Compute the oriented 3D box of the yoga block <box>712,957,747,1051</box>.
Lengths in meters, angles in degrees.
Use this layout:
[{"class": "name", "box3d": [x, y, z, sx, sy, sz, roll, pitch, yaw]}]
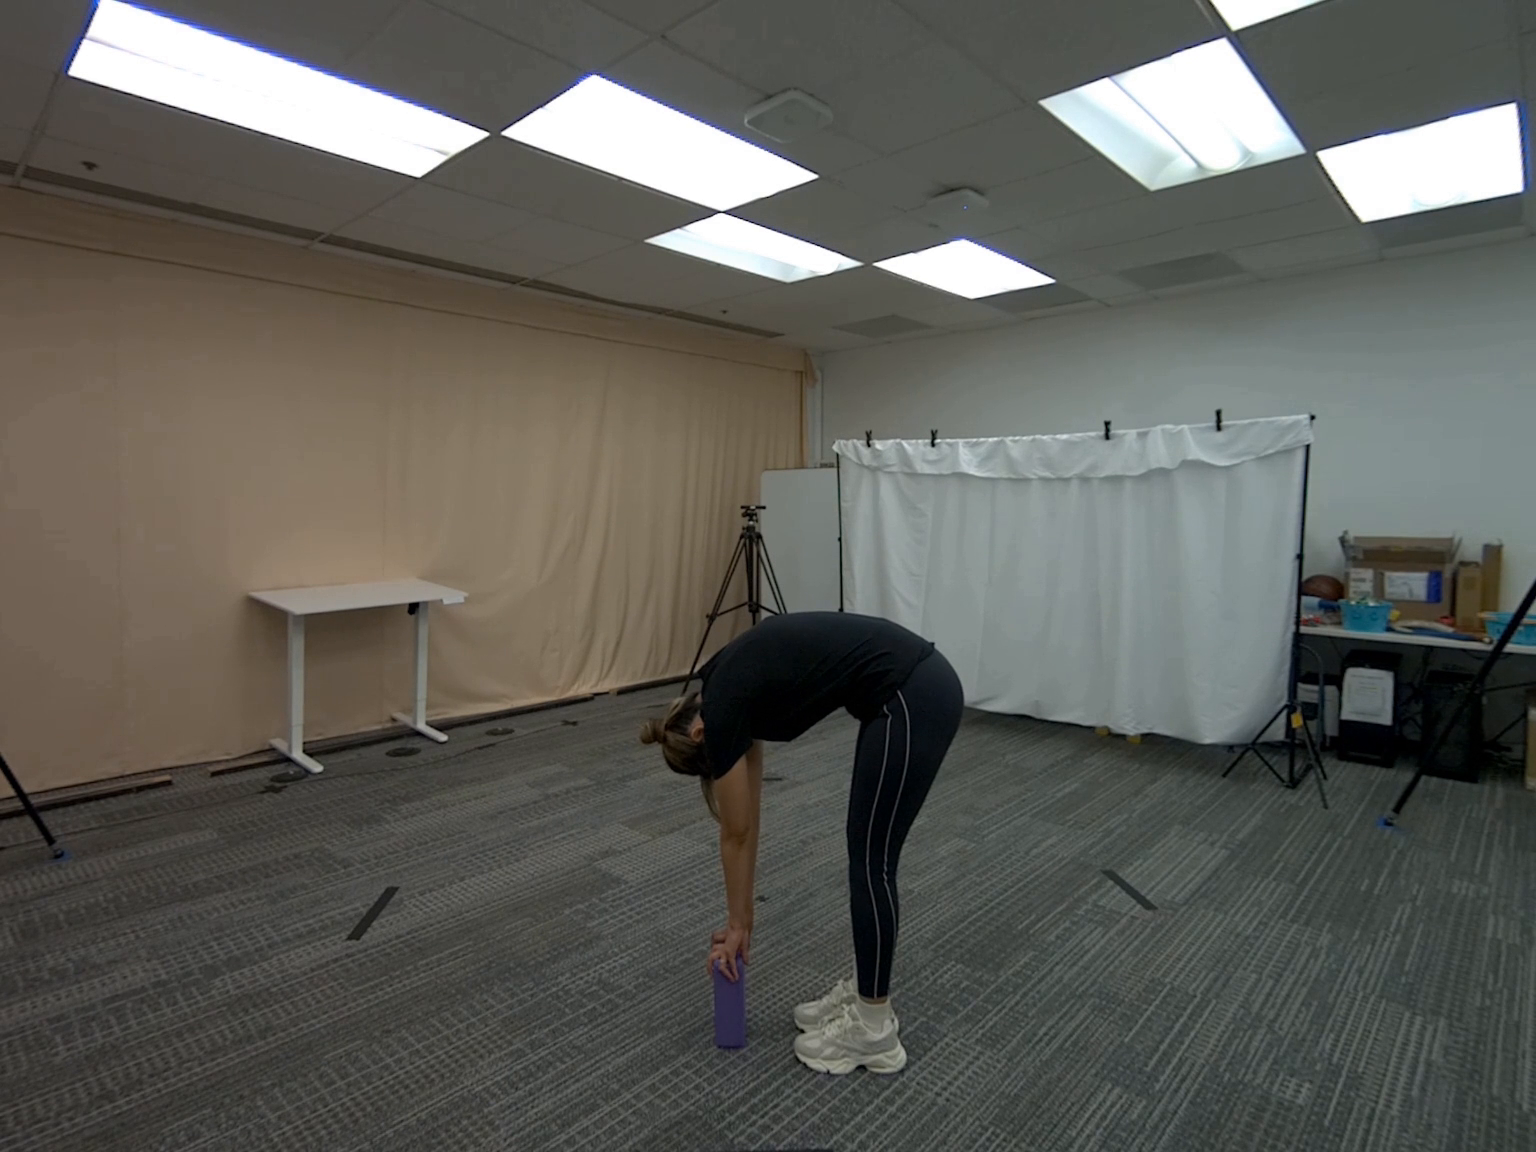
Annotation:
[{"class": "yoga block", "box3d": [-0.099, 1.101, 2.223, 0.076, 0.229, 0.149, 1, 2, 0]}]
